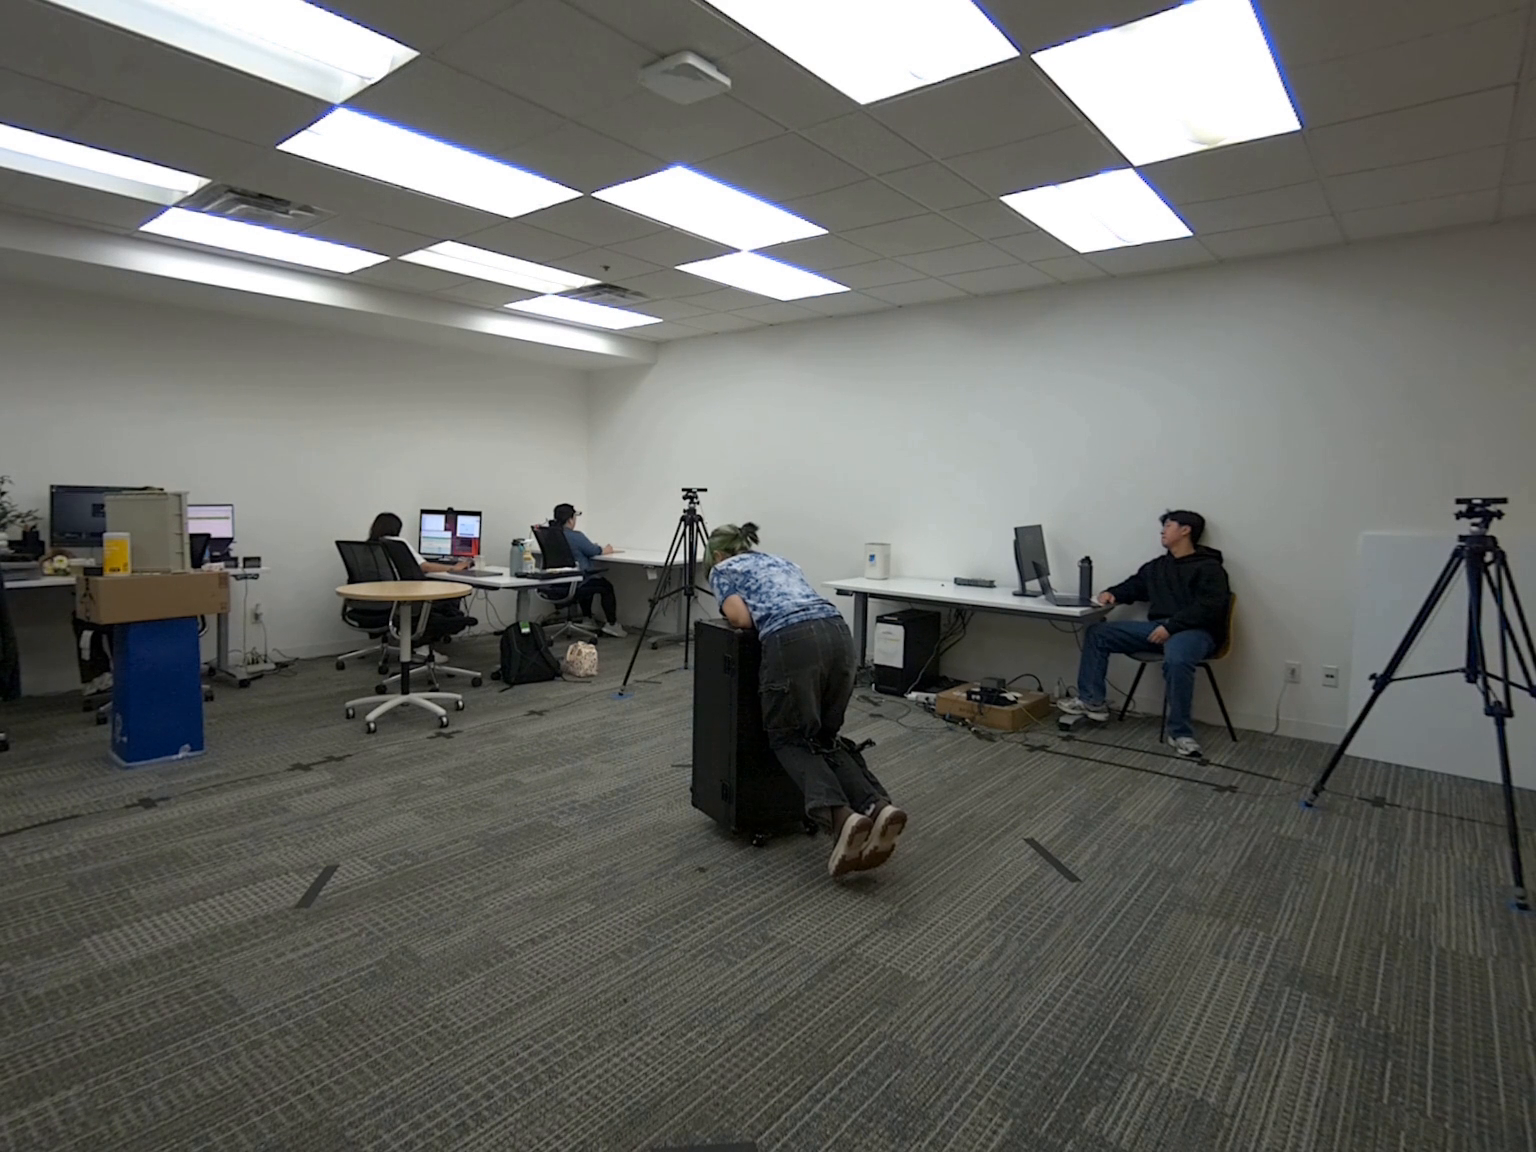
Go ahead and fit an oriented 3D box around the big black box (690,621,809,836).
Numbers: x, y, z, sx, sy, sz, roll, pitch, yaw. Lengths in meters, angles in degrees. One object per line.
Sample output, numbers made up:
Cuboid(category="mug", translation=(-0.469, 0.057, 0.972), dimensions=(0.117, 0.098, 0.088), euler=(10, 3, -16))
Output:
Cuboid(category="big black box", translation=(-0.032, 0.558, 3.517), dimensions=(0.507, 0.860, 0.408), euler=(-1, 3, -32))
